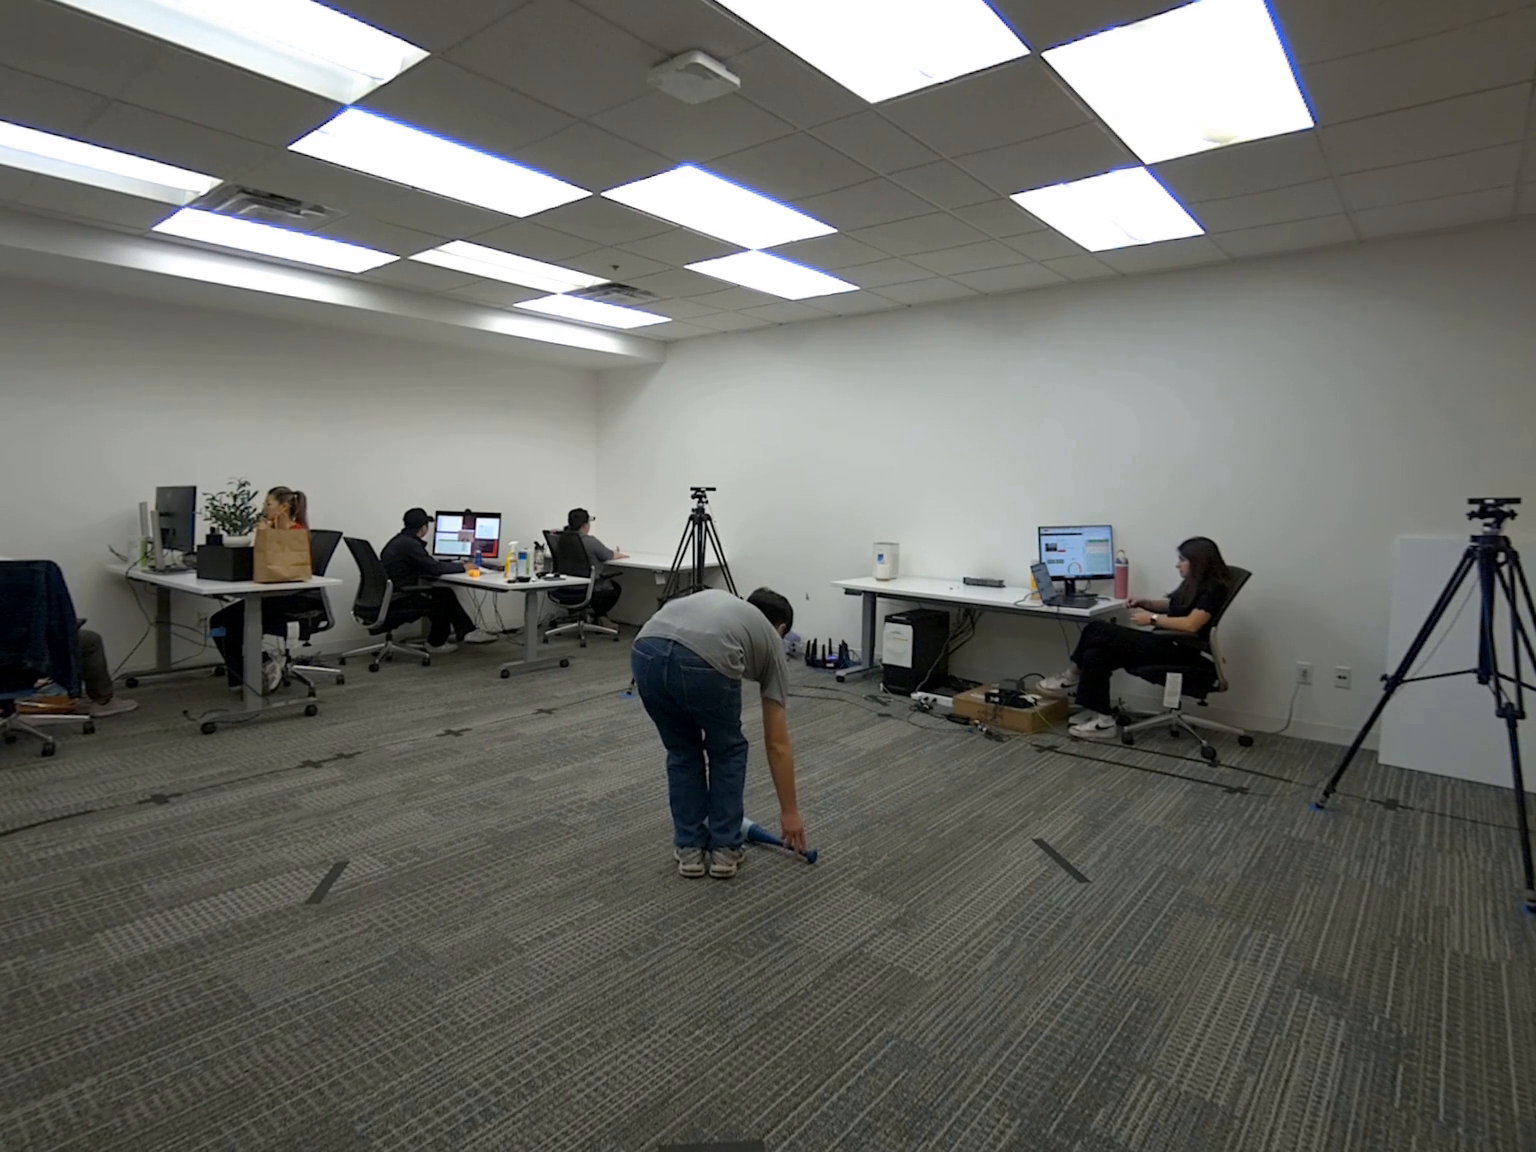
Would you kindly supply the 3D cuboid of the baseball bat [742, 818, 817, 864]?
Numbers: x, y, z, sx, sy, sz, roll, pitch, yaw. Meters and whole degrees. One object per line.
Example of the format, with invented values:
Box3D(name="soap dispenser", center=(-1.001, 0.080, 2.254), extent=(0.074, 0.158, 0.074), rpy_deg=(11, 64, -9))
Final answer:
Box3D(name="baseball bat", center=(-0.054, 1.006, 3.333), extent=(0.562, 0.088, 0.086), rpy_deg=(8, 8, 38))
